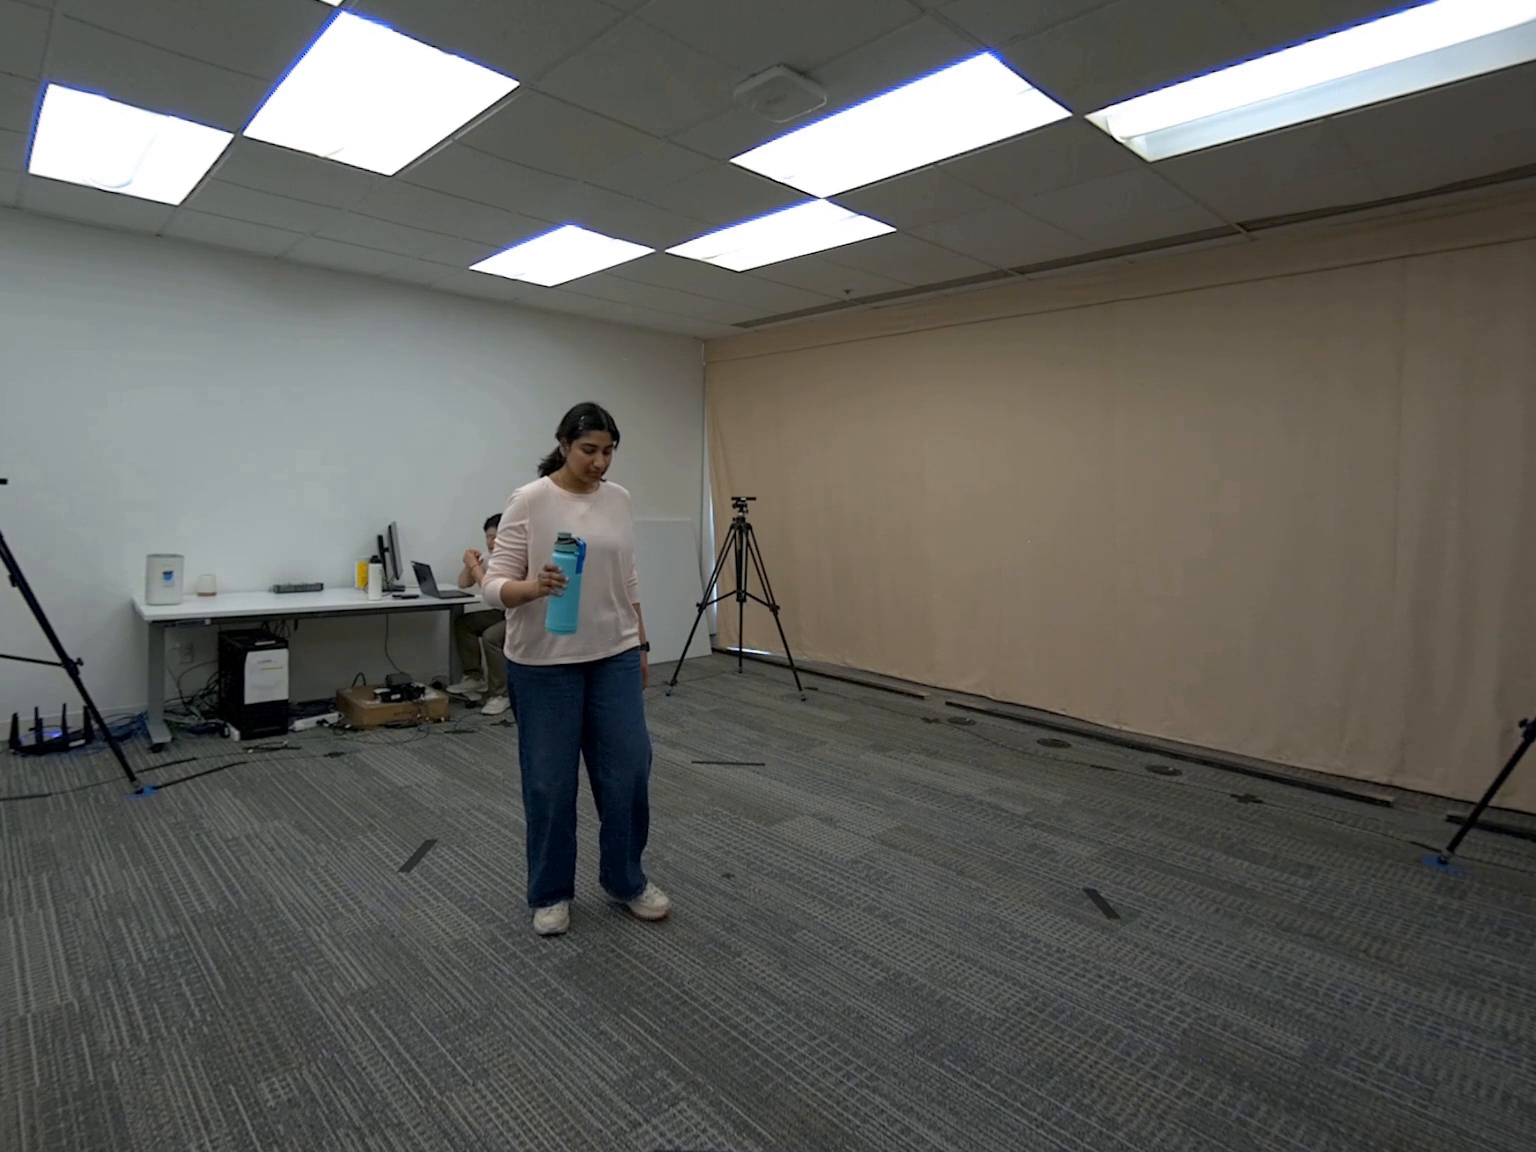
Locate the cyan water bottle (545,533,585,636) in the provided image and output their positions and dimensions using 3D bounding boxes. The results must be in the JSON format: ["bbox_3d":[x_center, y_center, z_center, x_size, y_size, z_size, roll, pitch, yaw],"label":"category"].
[{"bbox_3d":[-0.575,0.022,2.371,0.092,0.282,0.093,4,7,-2],"label":"cyan water bottle"}]
